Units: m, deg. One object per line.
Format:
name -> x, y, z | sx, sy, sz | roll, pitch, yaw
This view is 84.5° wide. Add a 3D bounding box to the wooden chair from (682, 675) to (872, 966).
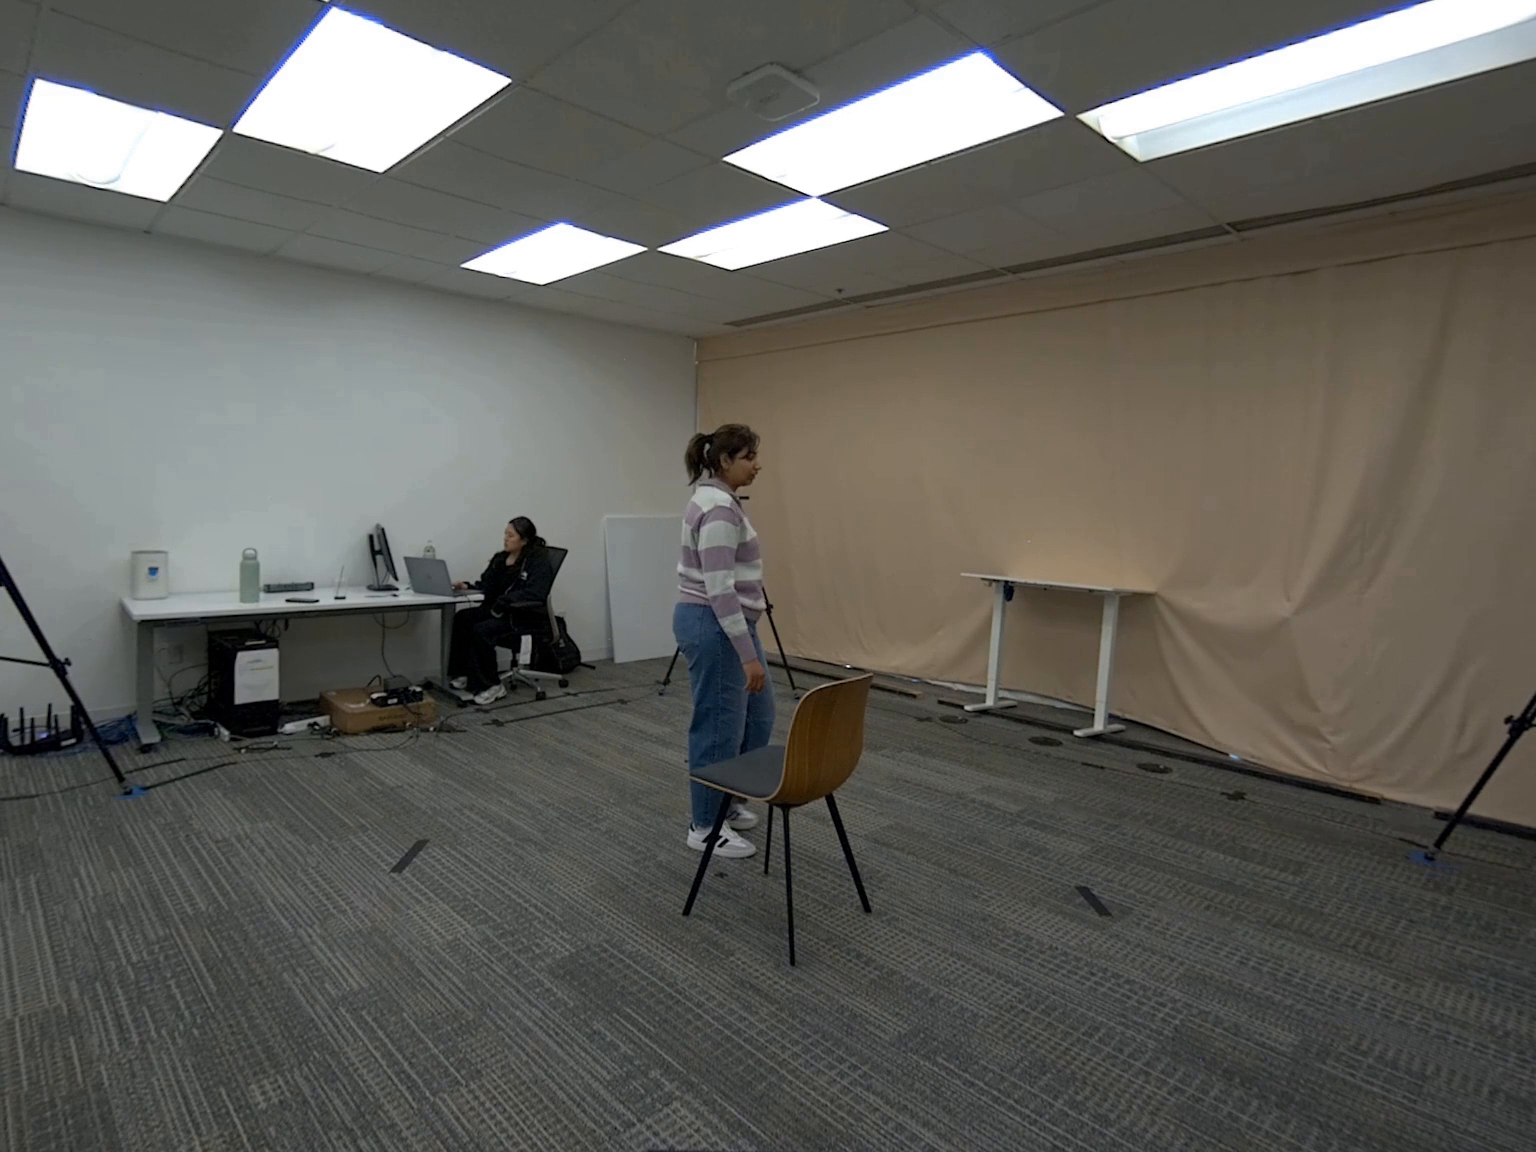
wooden chair -> 0.033, 0.707, 2.796 | 0.537, 0.873, 0.467 | 10, 9, 39
